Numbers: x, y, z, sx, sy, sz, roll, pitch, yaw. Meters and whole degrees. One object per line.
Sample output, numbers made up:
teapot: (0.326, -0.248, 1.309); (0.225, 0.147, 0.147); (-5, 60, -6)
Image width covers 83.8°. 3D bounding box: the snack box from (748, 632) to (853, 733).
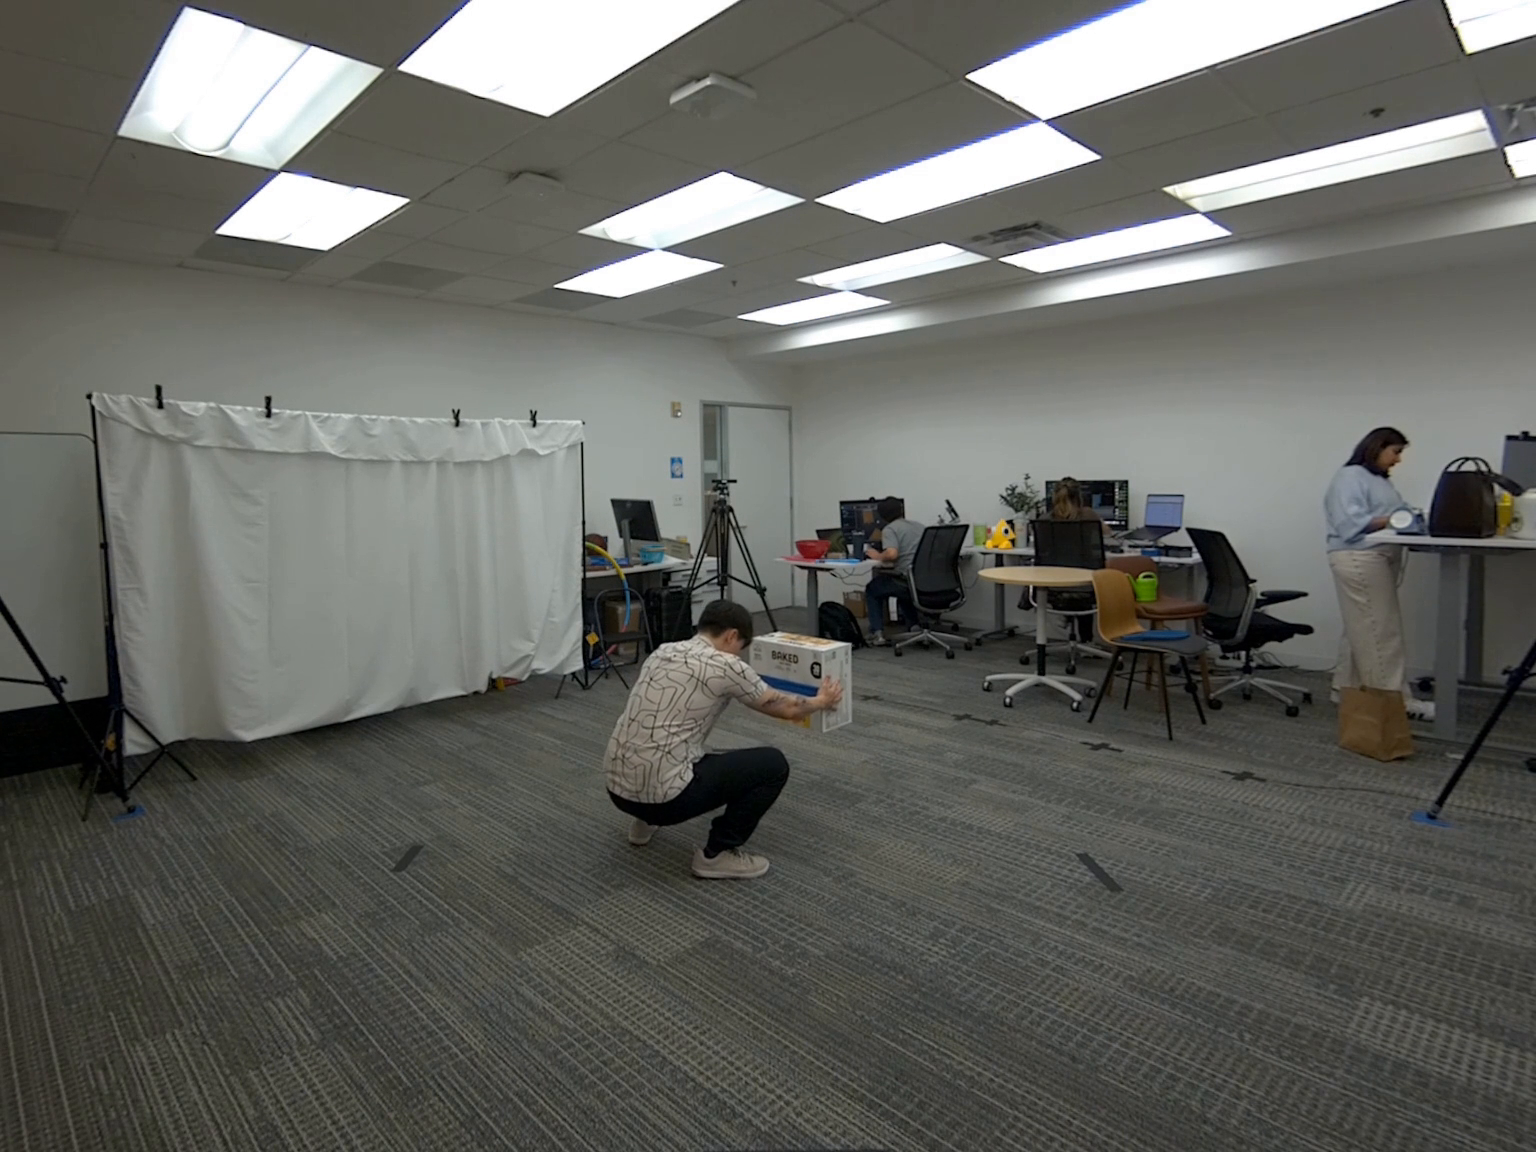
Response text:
snack box: (0.139, 0.439, 3.654); (0.418, 0.338, 0.200); (5, 8, 44)
